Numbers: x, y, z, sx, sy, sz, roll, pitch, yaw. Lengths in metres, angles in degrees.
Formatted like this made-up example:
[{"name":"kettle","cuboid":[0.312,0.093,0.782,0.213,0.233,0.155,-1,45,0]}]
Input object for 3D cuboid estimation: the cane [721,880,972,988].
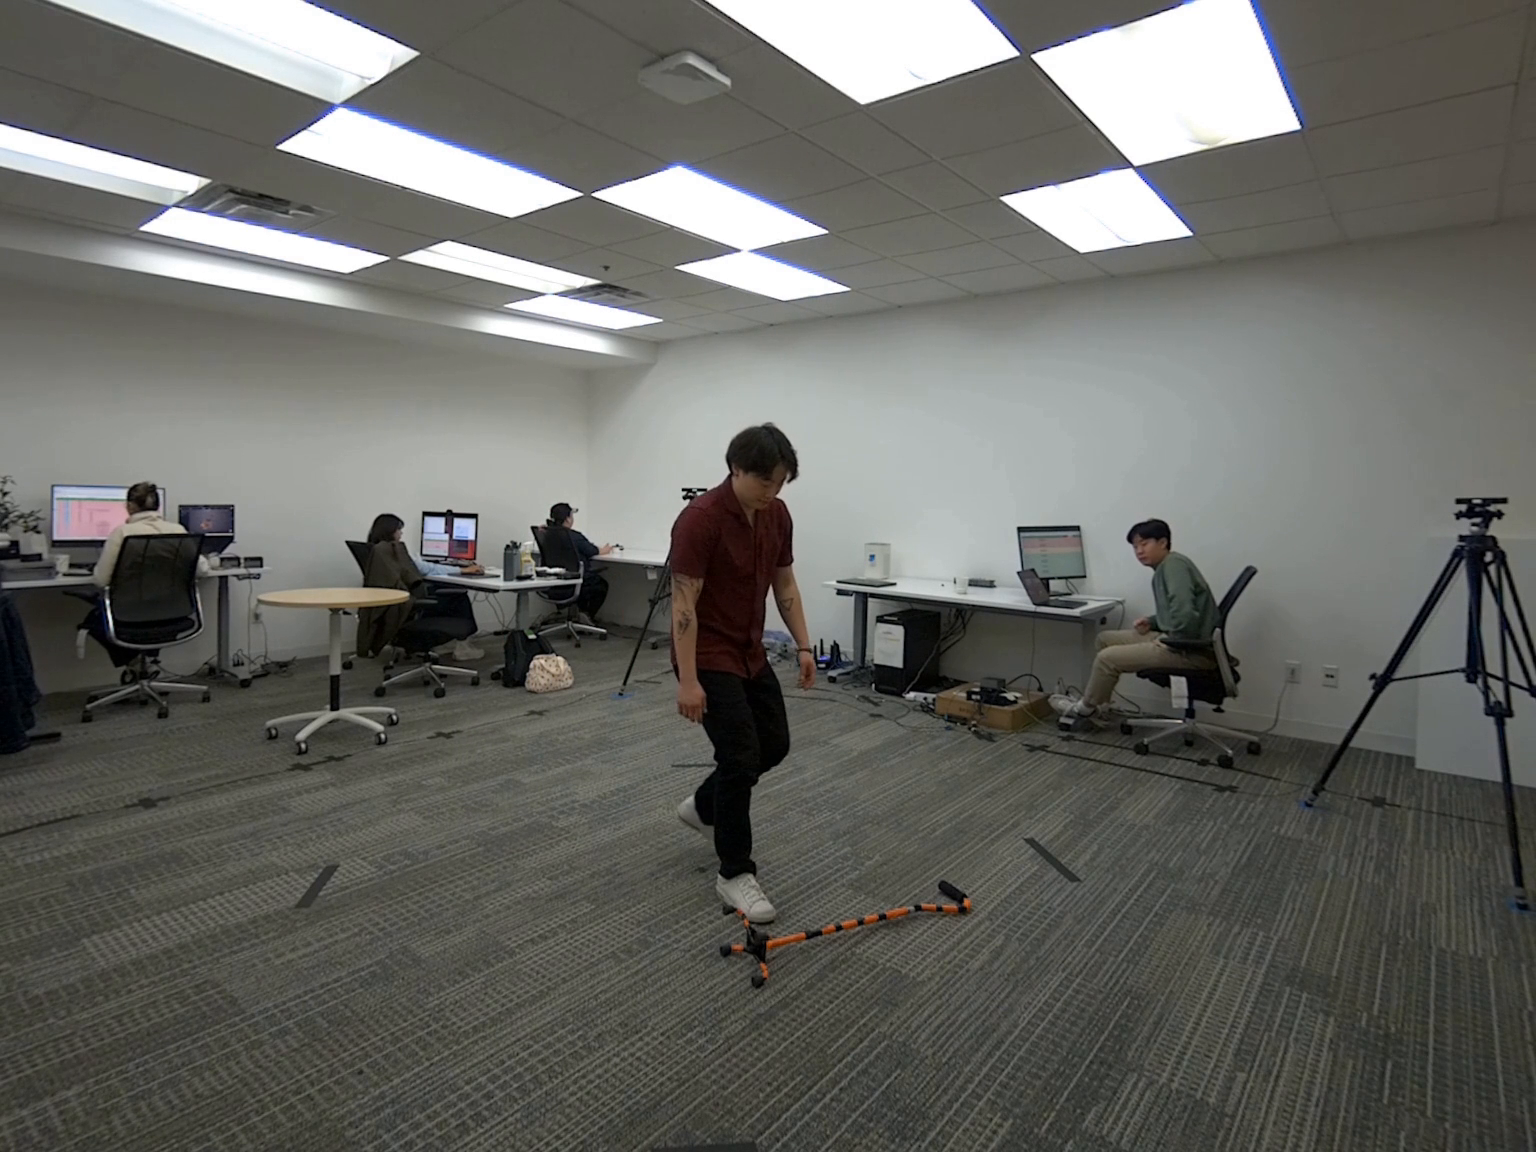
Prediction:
[{"name":"cane","cuboid":[0.291,1.067,2.680,0.882,0.151,0.213,1,7,-32]}]
